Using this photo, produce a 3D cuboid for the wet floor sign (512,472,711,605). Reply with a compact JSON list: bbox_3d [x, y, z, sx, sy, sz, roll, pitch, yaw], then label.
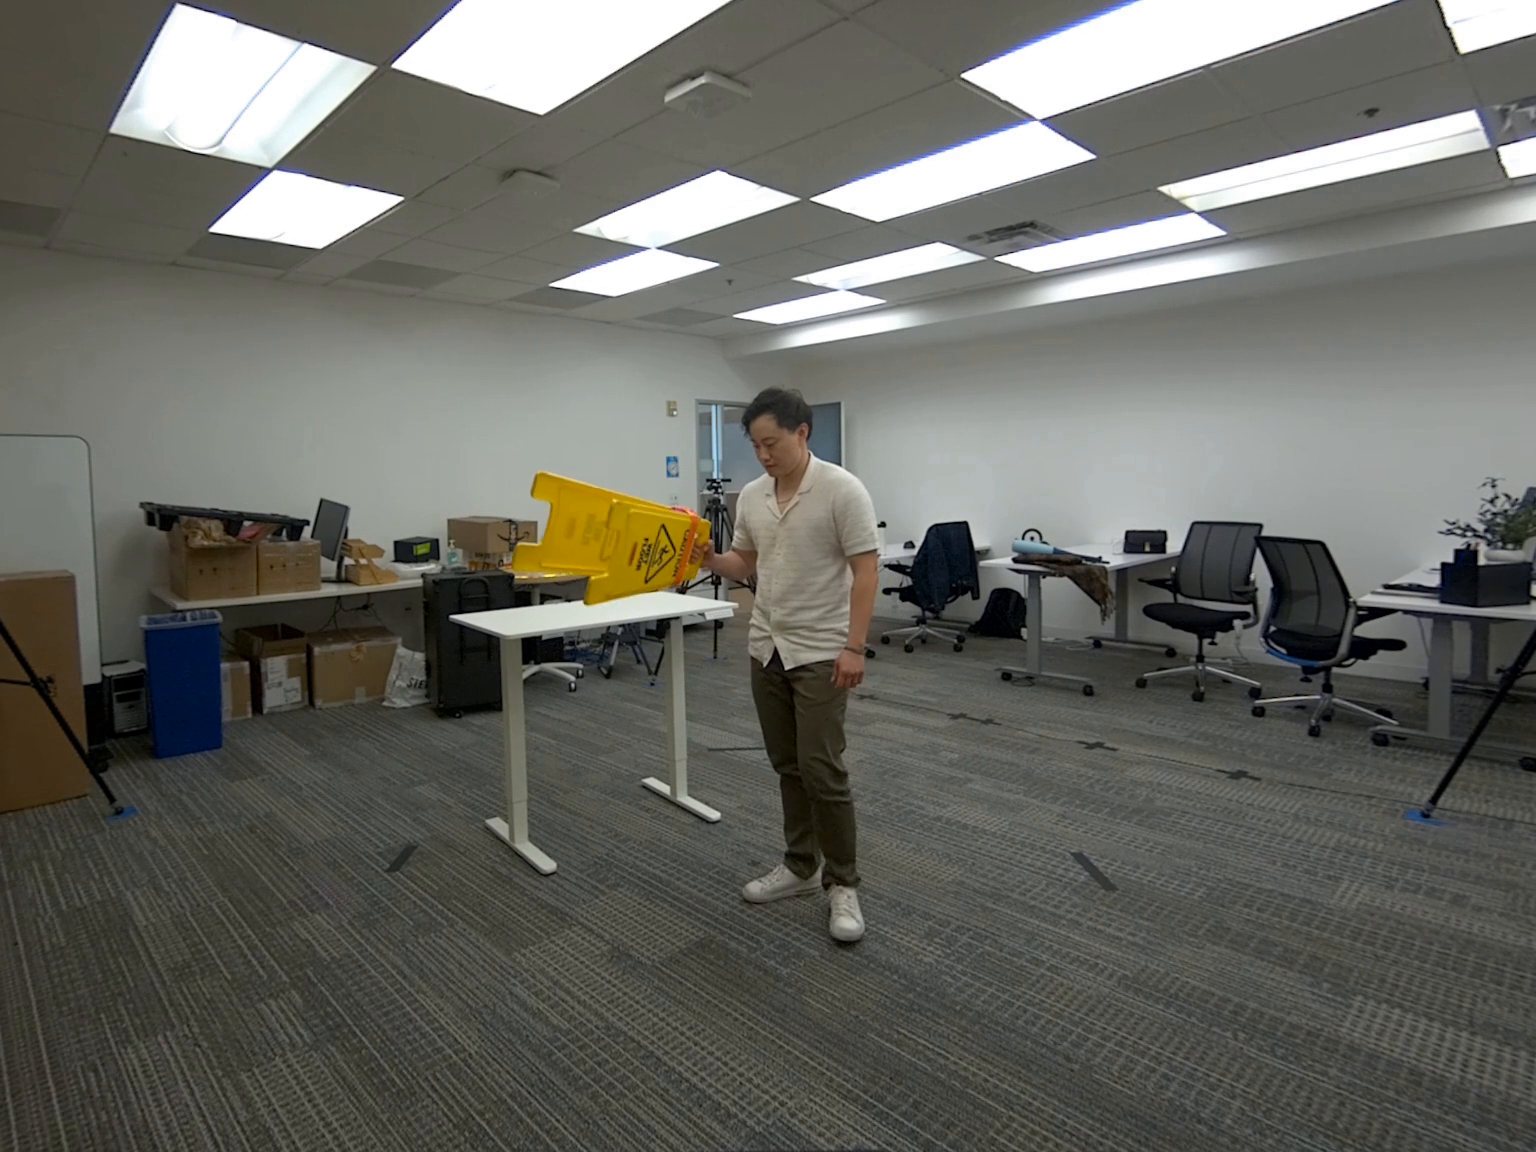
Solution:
[{"bbox_3d":[-0.377,-0.088,2.482,0.299,0.281,0.628,21,9,30],"label":"wet floor sign"}]
